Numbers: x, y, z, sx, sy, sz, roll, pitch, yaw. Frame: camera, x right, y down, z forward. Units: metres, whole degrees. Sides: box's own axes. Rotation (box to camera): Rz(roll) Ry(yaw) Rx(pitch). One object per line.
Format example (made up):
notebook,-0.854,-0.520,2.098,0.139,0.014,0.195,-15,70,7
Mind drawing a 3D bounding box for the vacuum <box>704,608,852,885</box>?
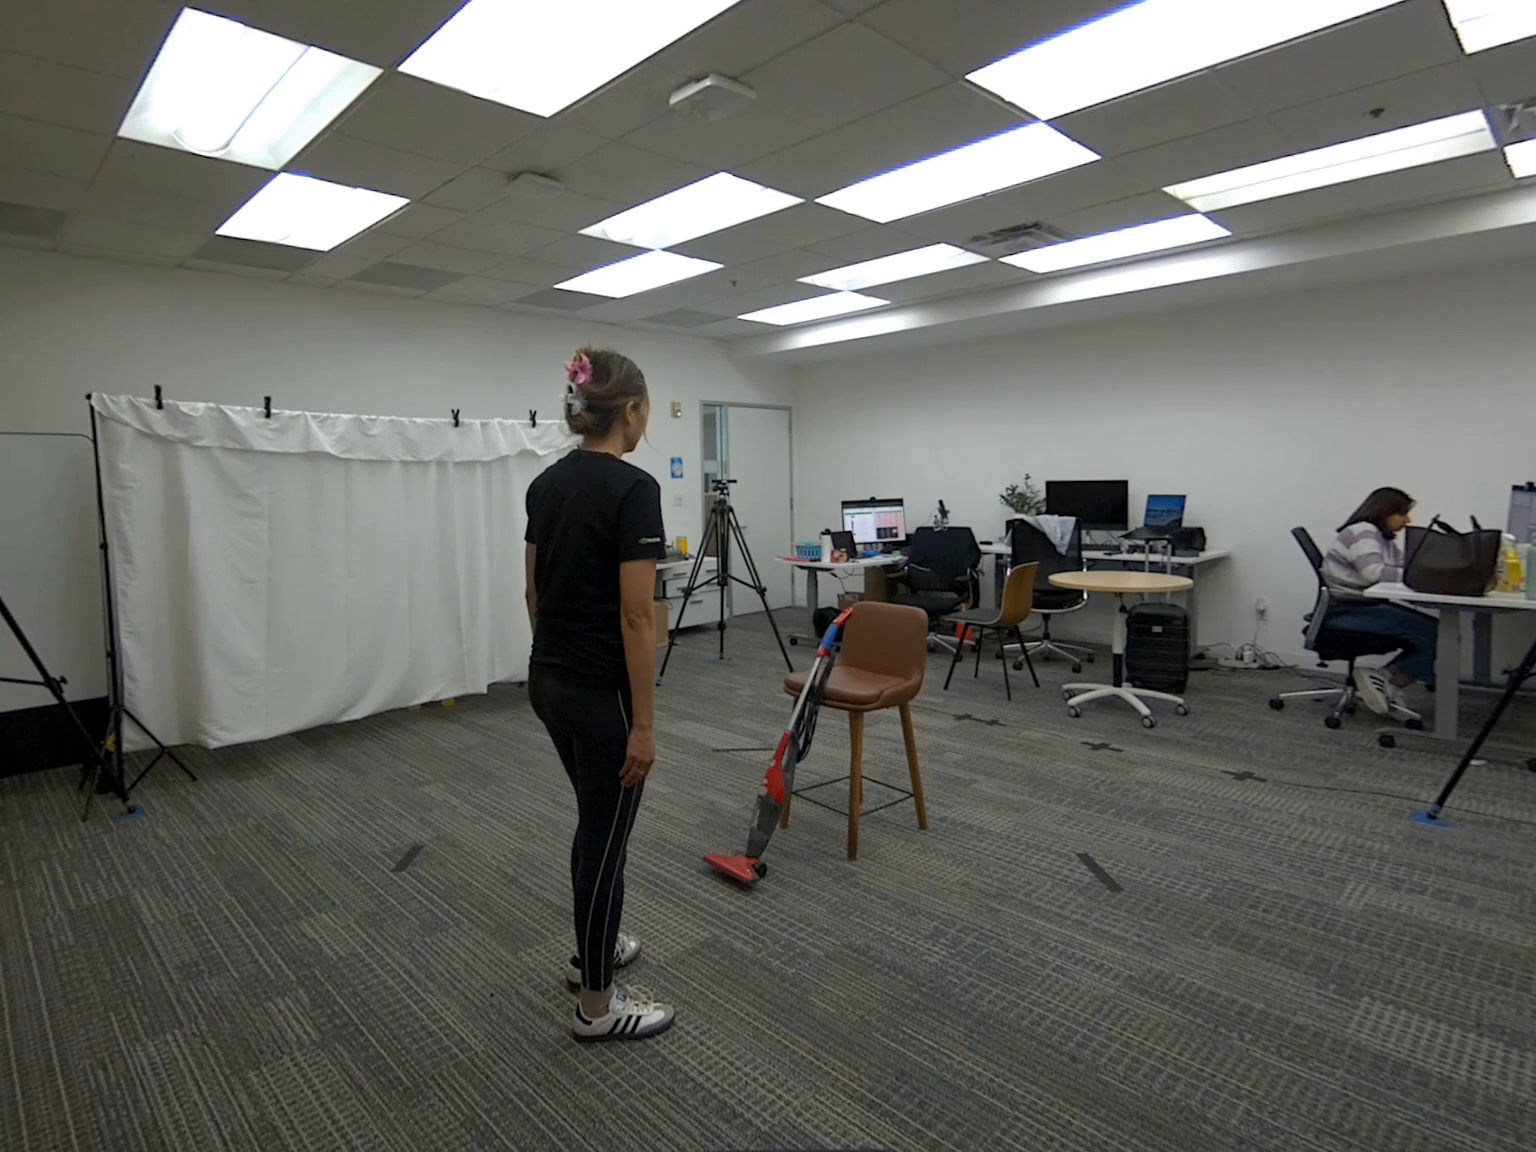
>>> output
vacuum,0.104,0.594,3.170,0.260,1.057,0.138,6,-27,44
